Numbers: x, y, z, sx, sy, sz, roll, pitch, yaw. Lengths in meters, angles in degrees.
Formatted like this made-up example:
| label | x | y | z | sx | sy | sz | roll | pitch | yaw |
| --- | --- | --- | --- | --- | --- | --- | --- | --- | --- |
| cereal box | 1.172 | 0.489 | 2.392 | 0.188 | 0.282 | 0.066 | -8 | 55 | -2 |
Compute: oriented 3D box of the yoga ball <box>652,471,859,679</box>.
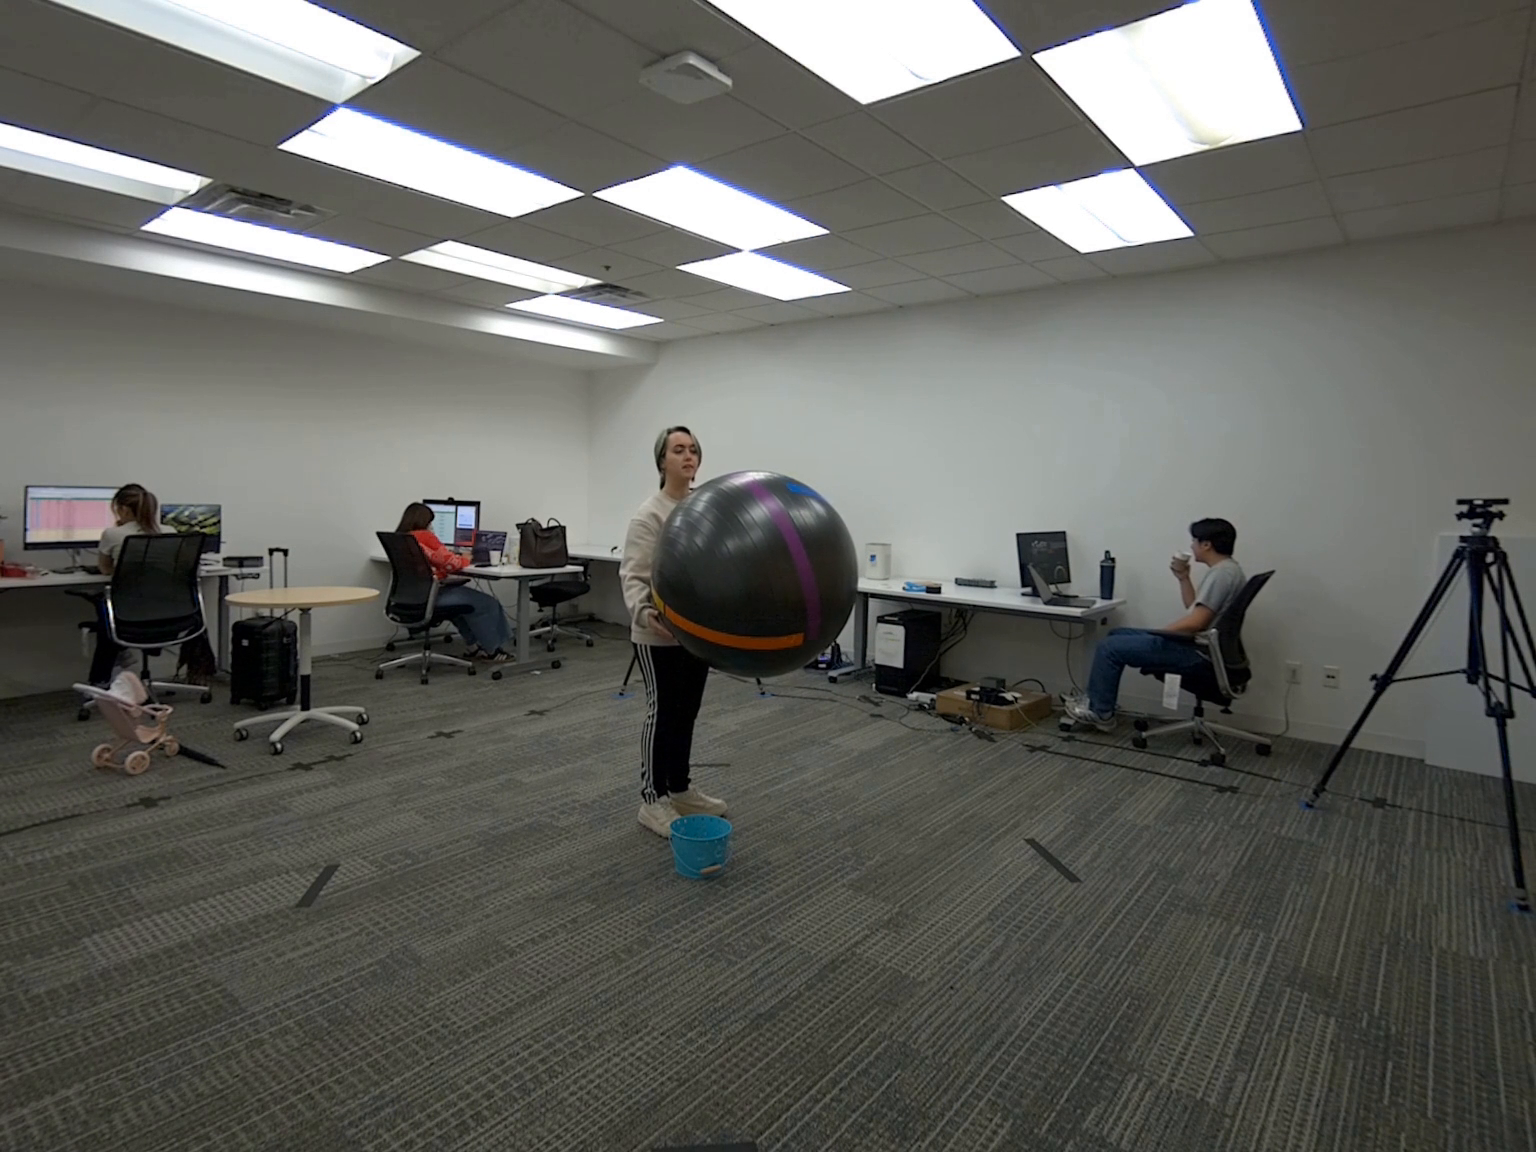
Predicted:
| label | x | y | z | sx | sy | sz | roll | pitch | yaw |
| --- | --- | --- | --- | --- | --- | --- | --- | --- | --- |
| yoga ball | -0.056 | -0.002 | 3.126 | 0.757 | 0.756 | 0.762 | 1 | 4 | -2 |
